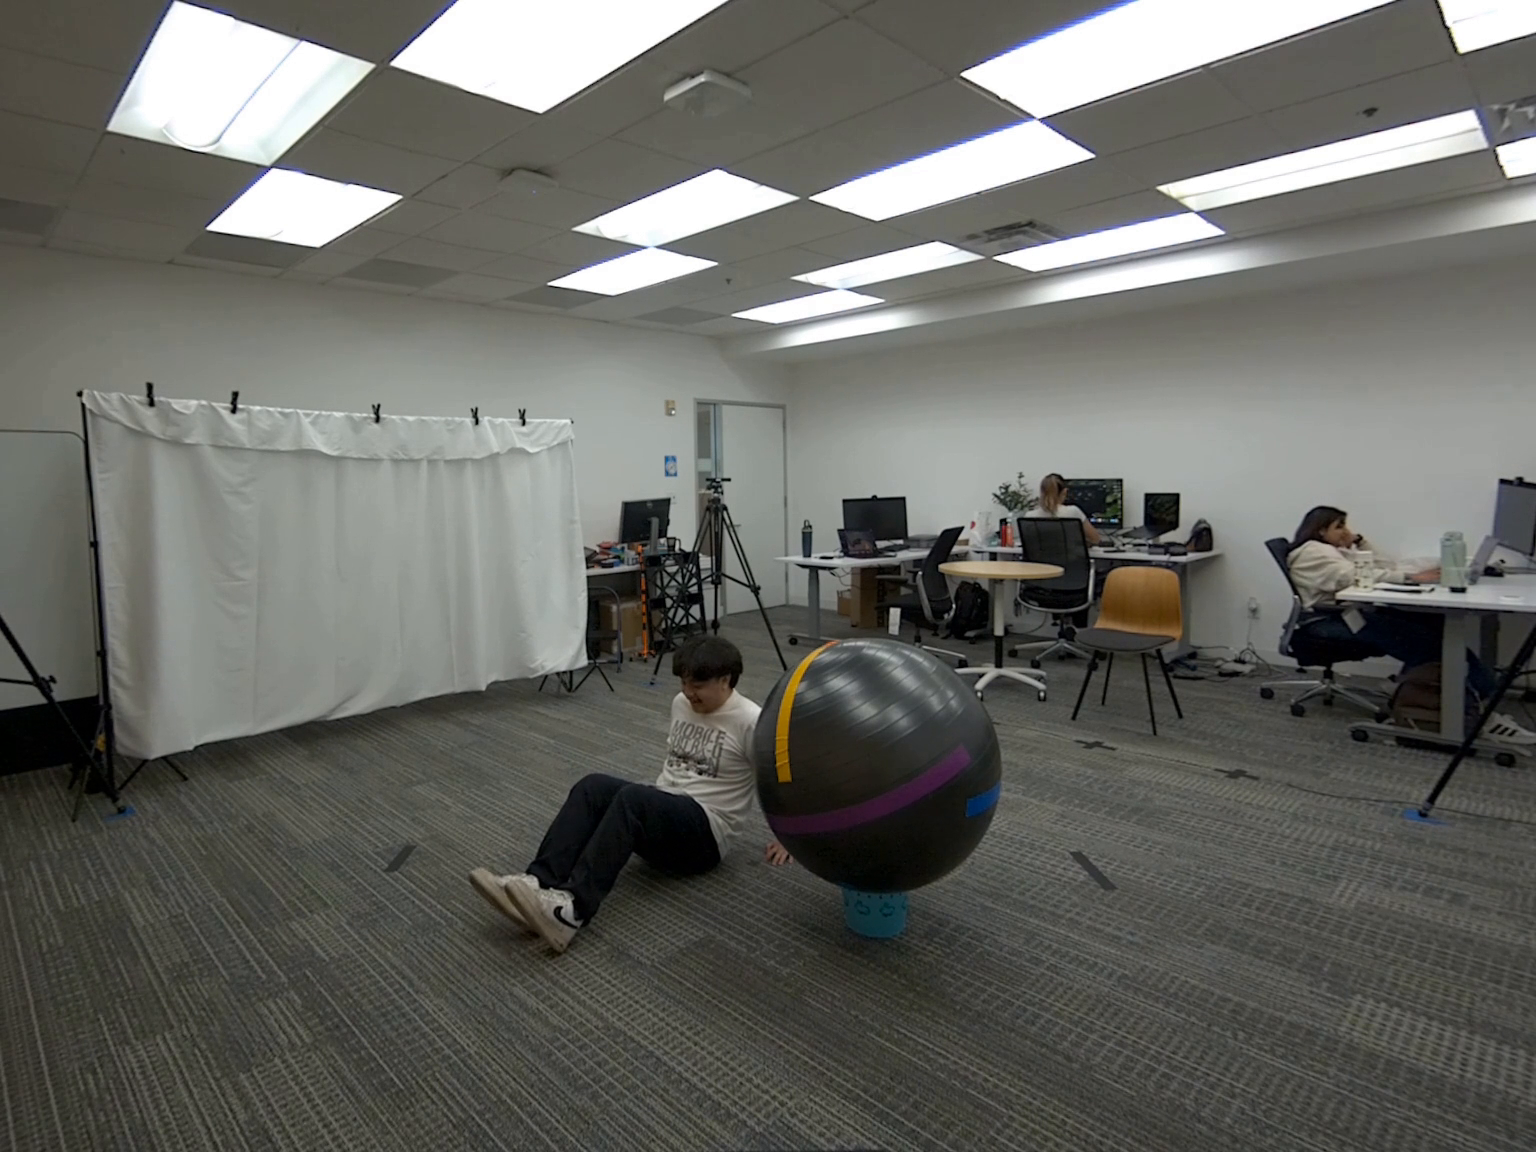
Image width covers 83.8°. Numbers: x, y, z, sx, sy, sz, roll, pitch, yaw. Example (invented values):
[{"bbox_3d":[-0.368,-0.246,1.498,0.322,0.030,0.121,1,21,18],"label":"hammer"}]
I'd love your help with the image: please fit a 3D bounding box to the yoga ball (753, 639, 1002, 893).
[{"bbox_3d":[0.333,0.578,2.634,0.757,0.755,0.762,-1,5,-2],"label":"yoga ball"}]
